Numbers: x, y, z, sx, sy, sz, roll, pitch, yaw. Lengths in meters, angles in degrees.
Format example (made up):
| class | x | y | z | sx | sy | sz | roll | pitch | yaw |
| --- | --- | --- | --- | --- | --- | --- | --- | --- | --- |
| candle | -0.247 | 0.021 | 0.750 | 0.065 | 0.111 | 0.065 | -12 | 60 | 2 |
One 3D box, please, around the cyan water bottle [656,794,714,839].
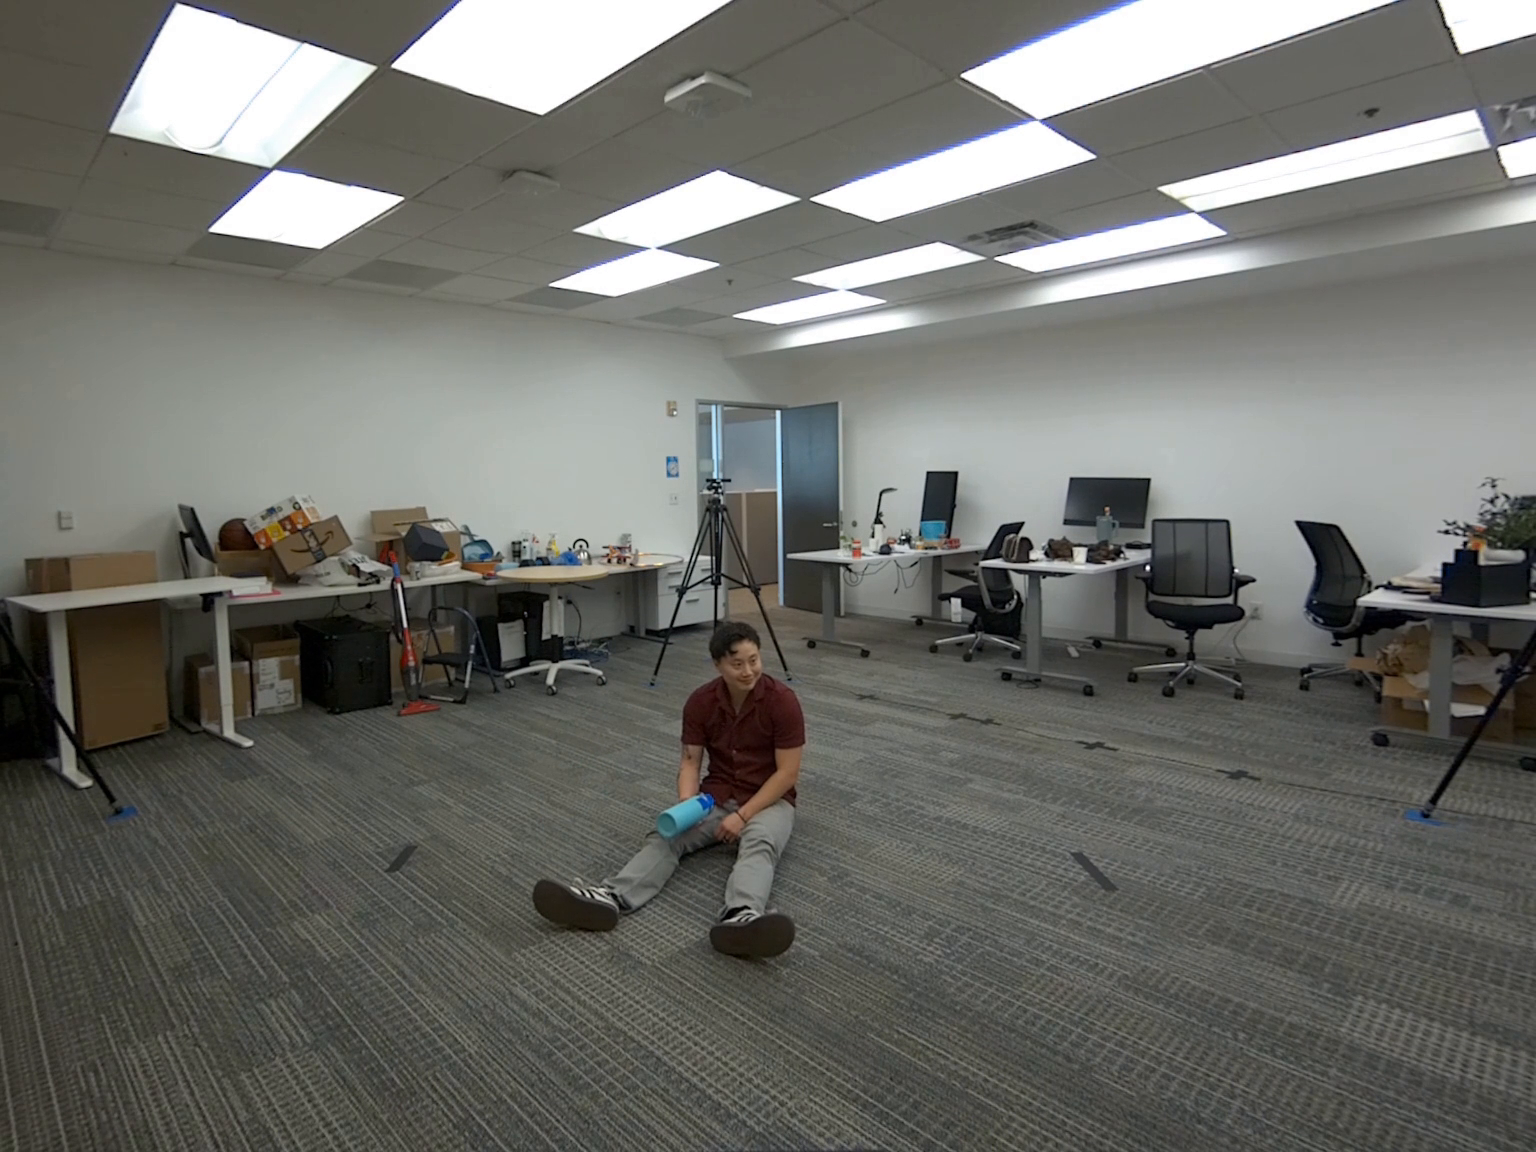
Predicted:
| class | x | y | z | sx | sy | sz | roll | pitch | yaw |
| --- | --- | --- | --- | --- | --- | --- | --- | --- | --- |
| cyan water bottle | -0.284 | 0.853 | 3.046 | 0.094 | 0.092 | 0.277 | 2 | 3 | 27 |
